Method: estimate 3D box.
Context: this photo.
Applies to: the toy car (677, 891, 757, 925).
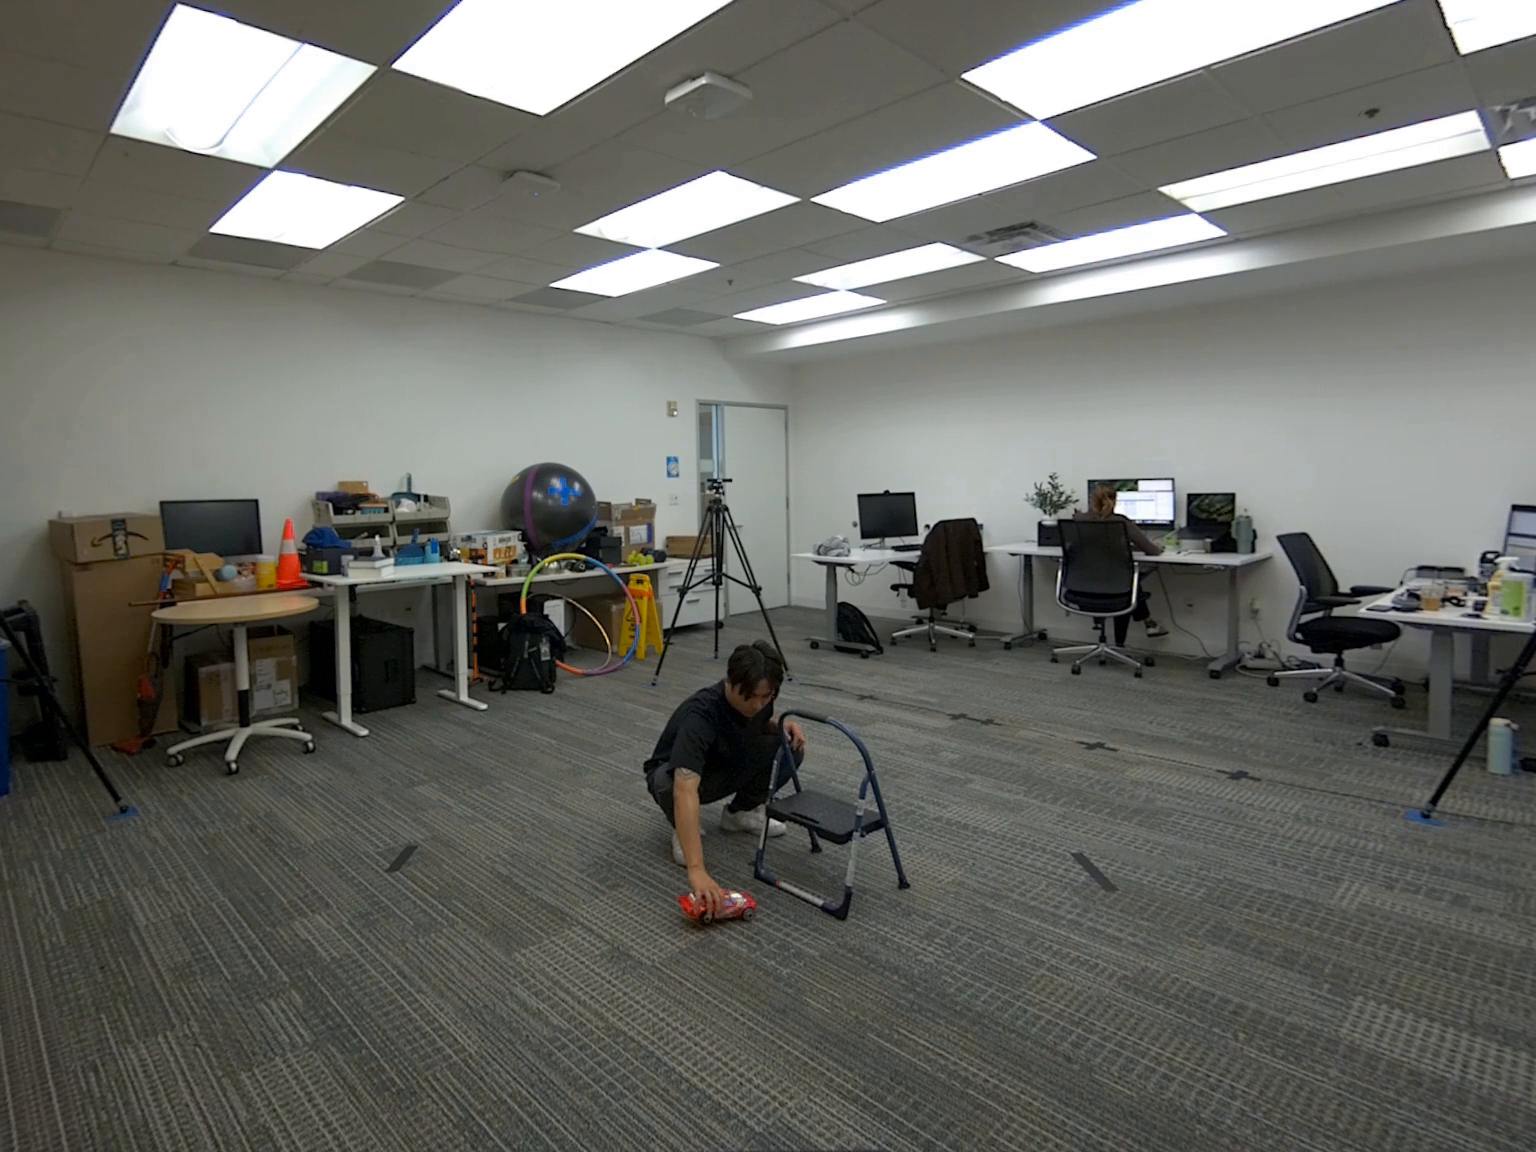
[{"bbox_3d":[-0.170,1.055,2.716,0.248,0.083,0.133,16,0,-23],"label":"toy car"}]
